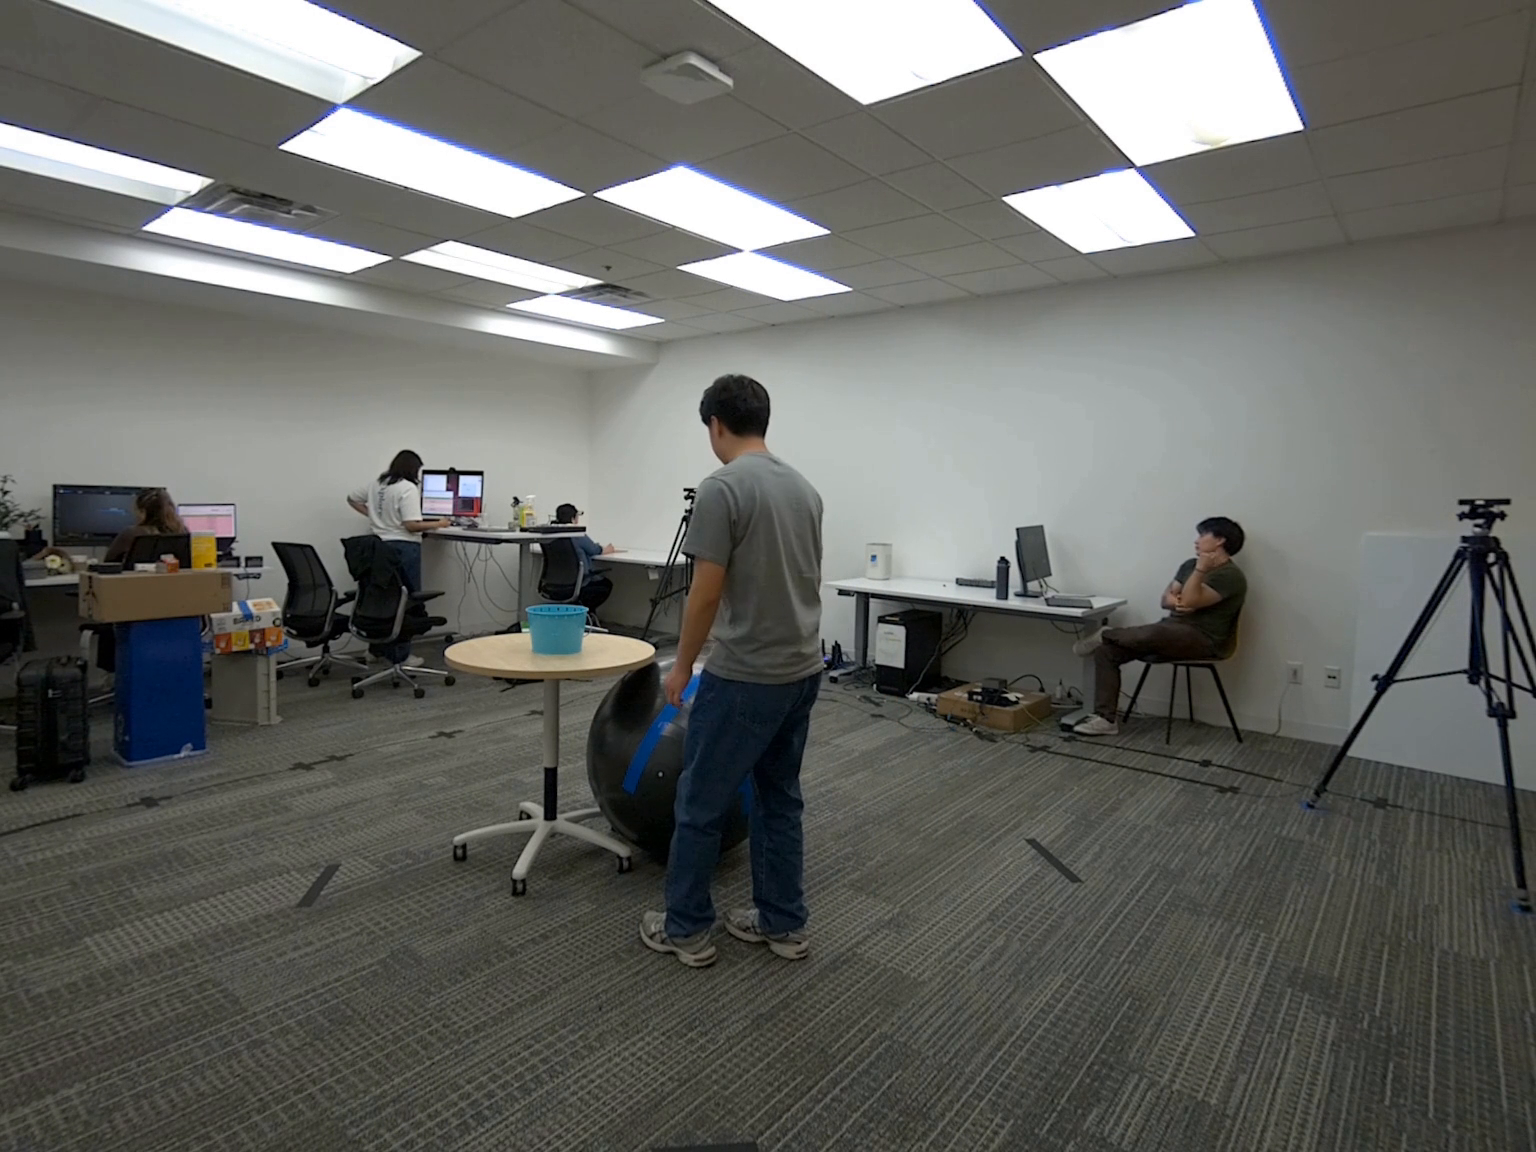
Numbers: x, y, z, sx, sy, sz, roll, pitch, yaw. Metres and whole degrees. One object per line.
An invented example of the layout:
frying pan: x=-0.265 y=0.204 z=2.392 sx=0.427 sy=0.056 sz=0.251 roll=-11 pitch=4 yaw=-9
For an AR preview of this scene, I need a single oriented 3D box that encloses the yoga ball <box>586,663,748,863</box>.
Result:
yoga ball: x=-0.325 y=0.681 z=3.264 sx=0.757 sy=0.755 sz=0.762 roll=1 pitch=4 yaw=-2
